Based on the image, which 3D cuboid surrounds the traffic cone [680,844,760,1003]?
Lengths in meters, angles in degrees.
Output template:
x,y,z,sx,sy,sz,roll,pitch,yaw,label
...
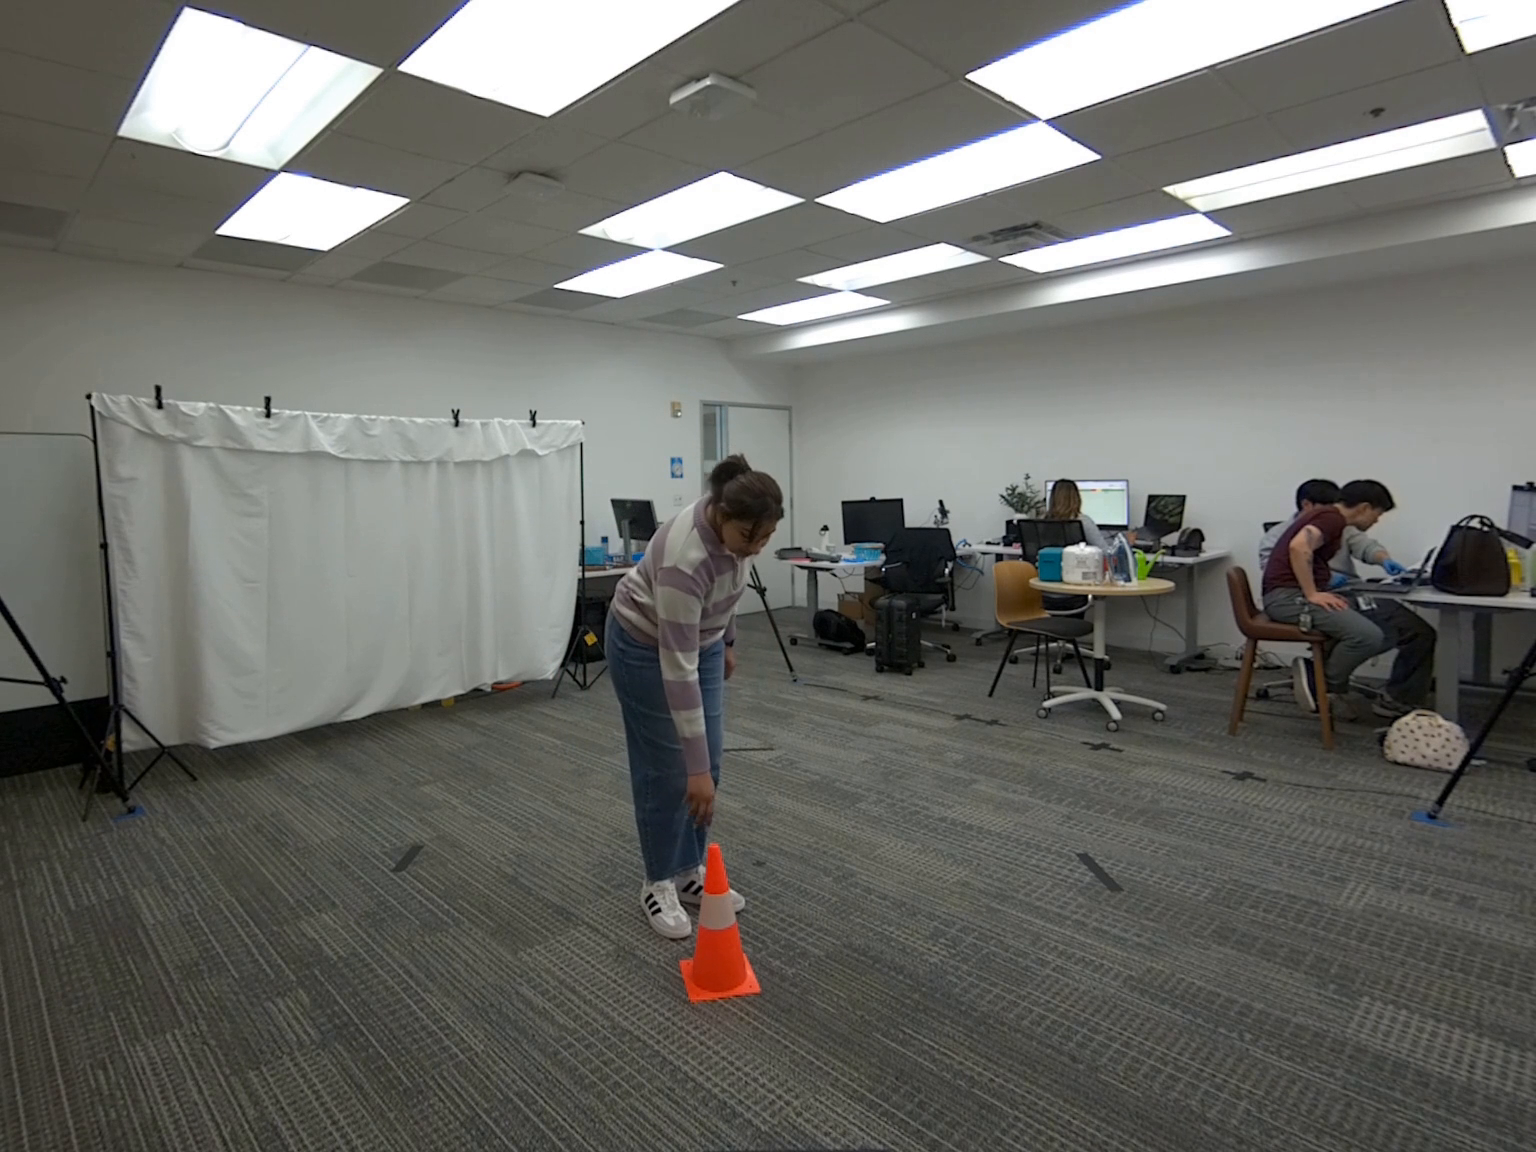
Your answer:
x,y,z,sx,sy,sz,roll,pitch,yaw,label
-0.142,0.949,2.393,0.203,0.382,0.206,-5,5,-13,traffic cone
